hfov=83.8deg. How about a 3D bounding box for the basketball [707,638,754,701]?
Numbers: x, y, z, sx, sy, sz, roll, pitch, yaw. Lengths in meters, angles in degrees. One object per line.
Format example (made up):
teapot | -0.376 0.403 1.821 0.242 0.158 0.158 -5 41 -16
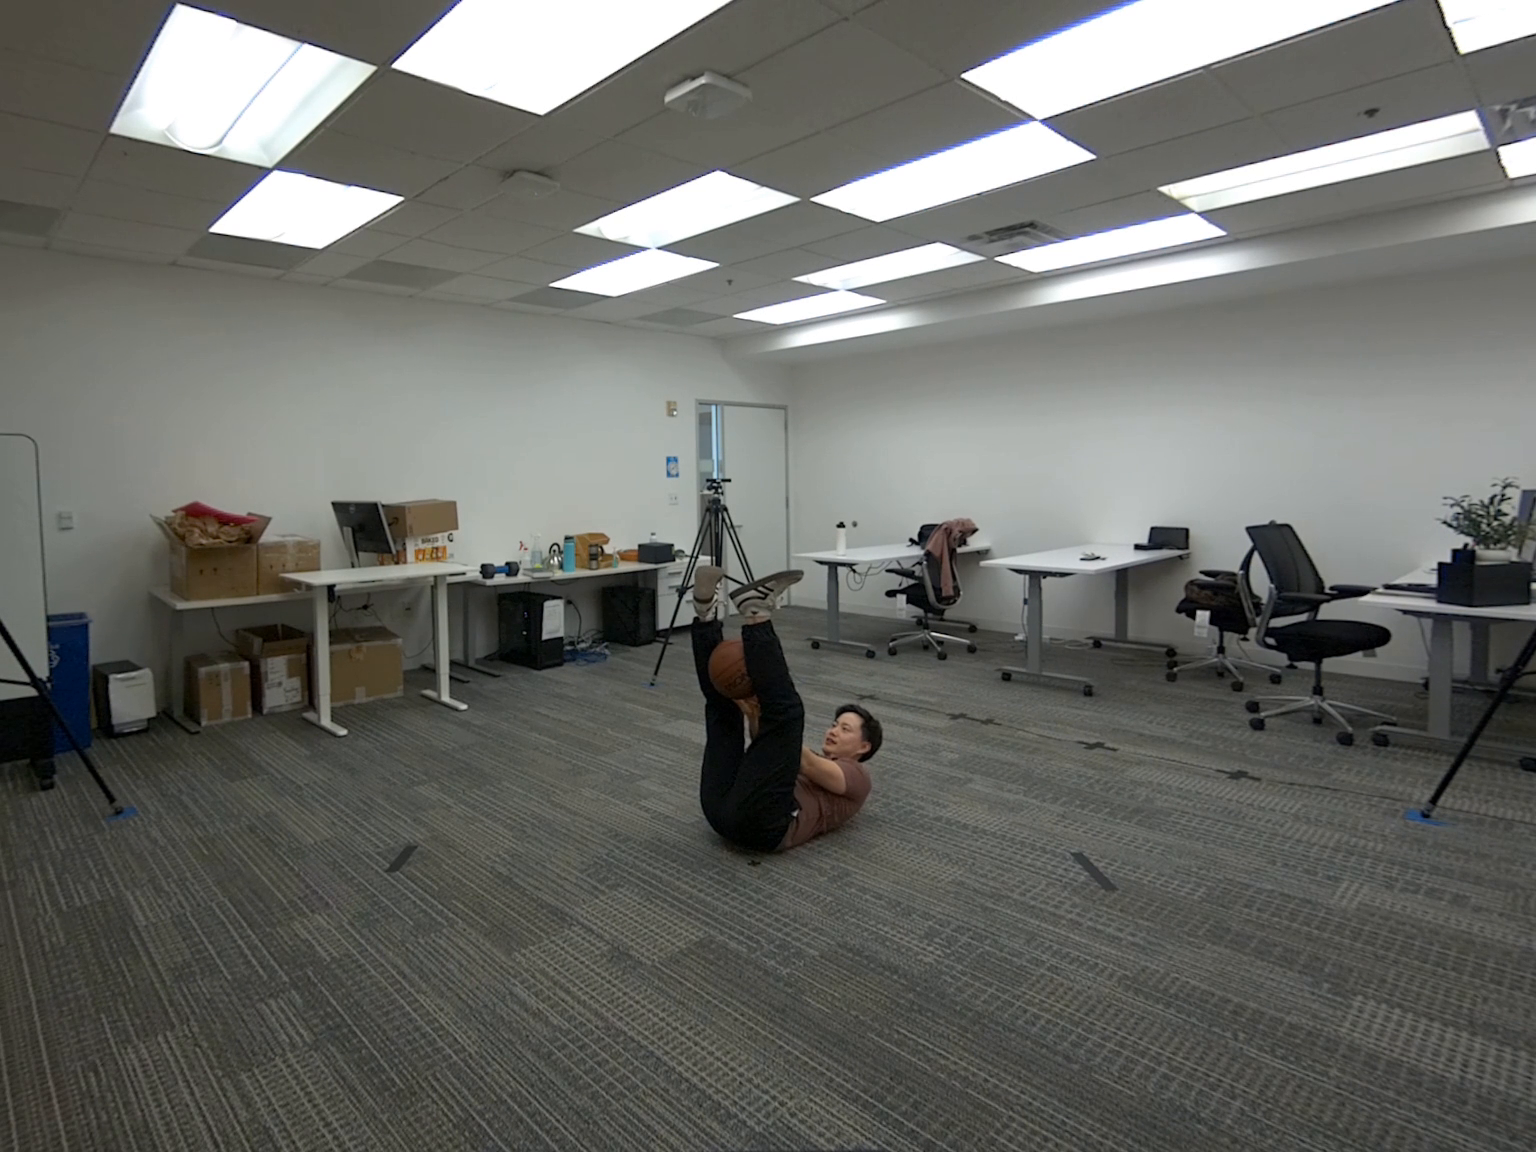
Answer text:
basketball | -0.109 0.350 3.209 0.236 0.235 0.237 -2 5 -2
